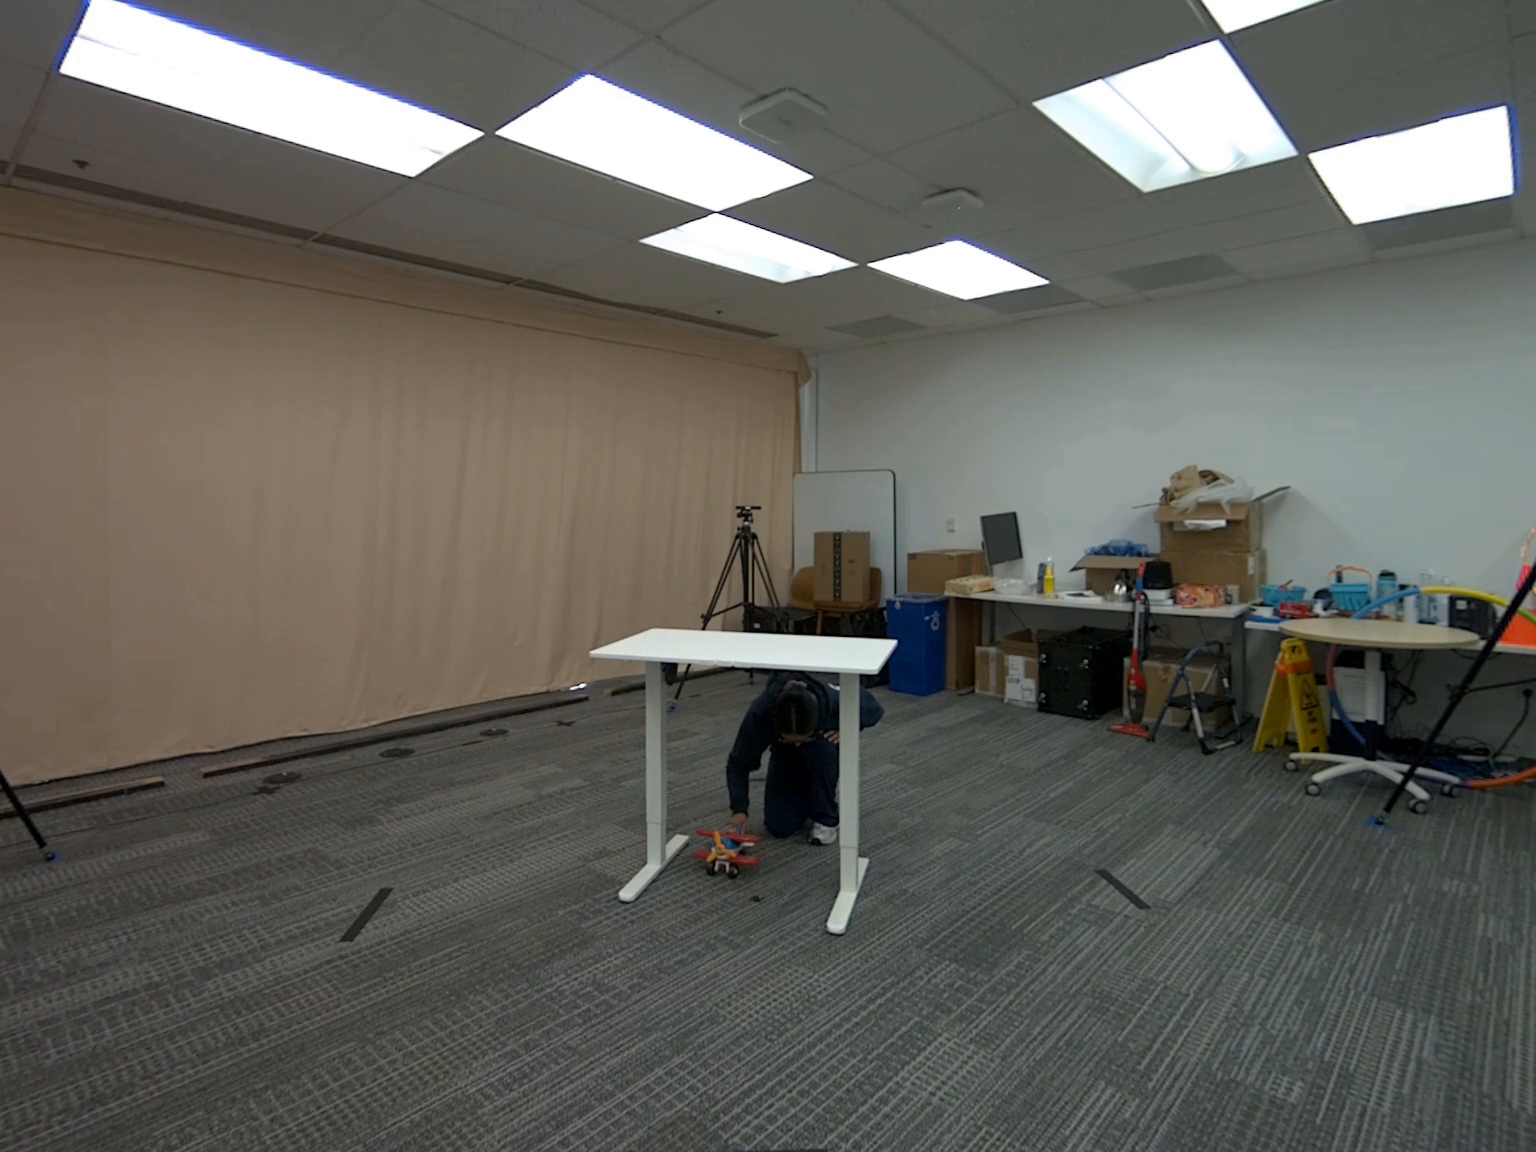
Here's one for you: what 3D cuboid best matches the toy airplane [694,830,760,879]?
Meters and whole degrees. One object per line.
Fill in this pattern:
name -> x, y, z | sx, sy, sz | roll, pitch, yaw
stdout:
toy airplane -> -0.142, 1.047, 3.247 | 0.248, 0.156, 0.262 | 0, 5, -10
